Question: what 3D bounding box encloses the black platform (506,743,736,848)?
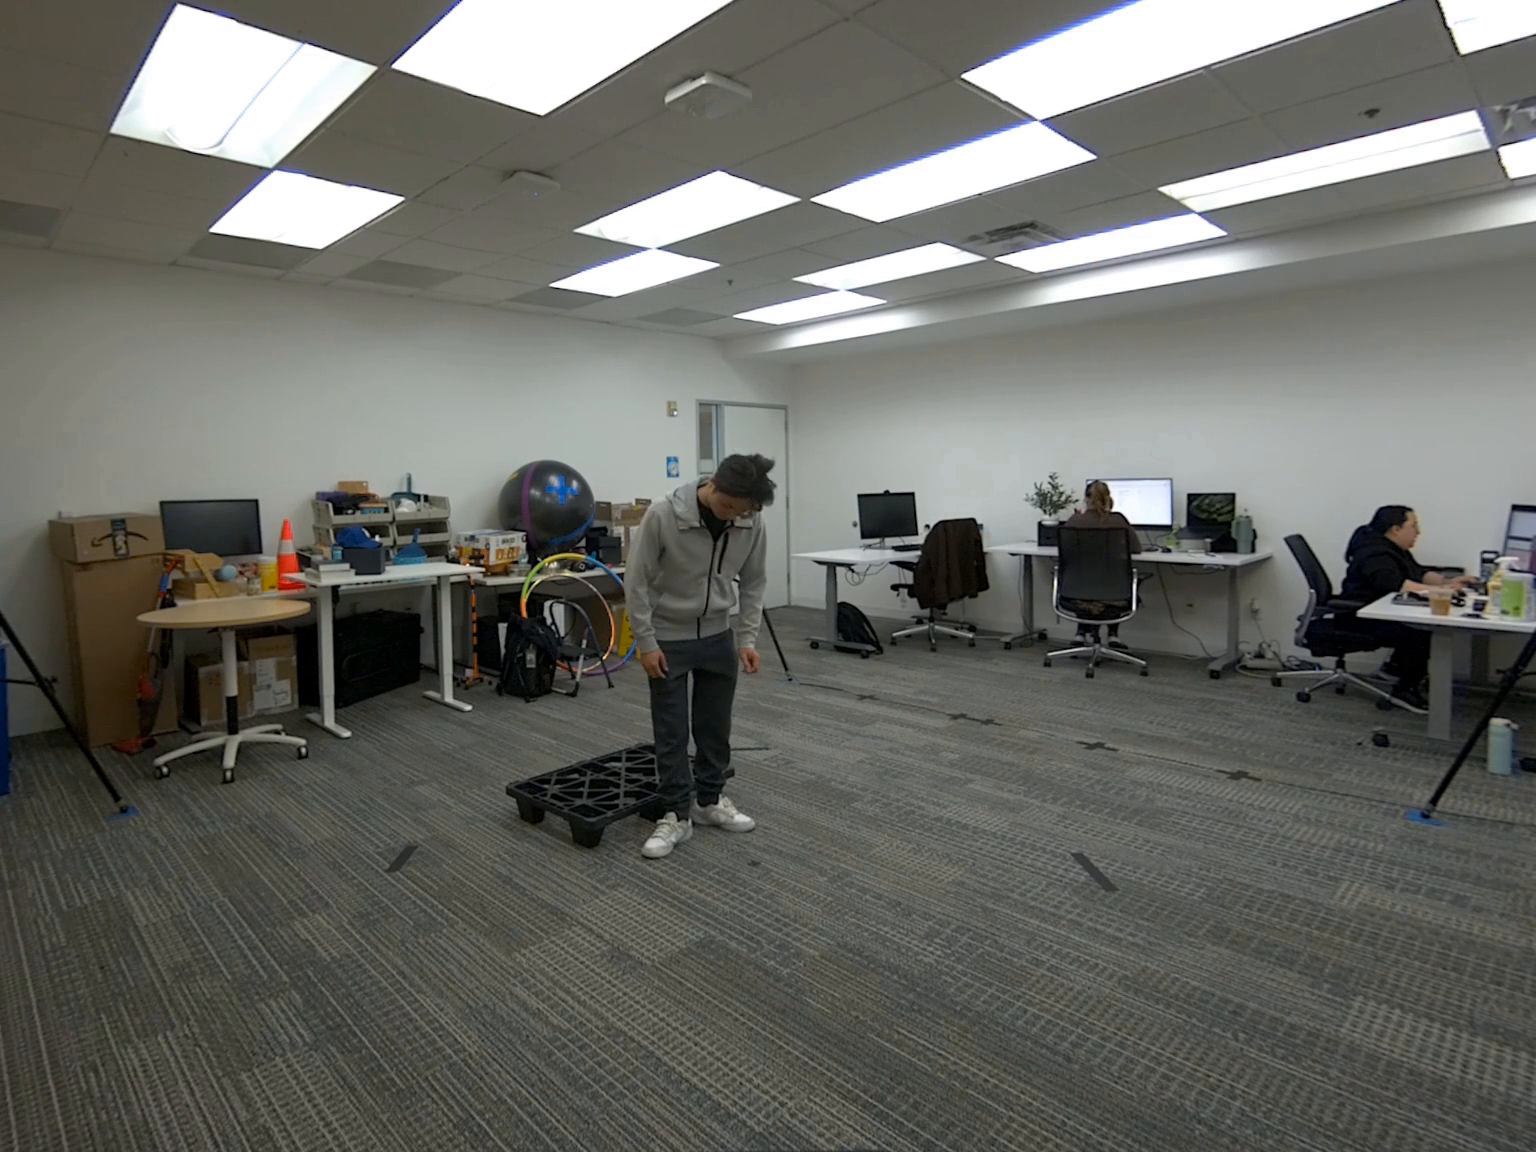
[{"bbox_3d":[-0.612,0.923,3.669,0.624,0.142,0.785,5,9,42],"label":"black platform"}]
